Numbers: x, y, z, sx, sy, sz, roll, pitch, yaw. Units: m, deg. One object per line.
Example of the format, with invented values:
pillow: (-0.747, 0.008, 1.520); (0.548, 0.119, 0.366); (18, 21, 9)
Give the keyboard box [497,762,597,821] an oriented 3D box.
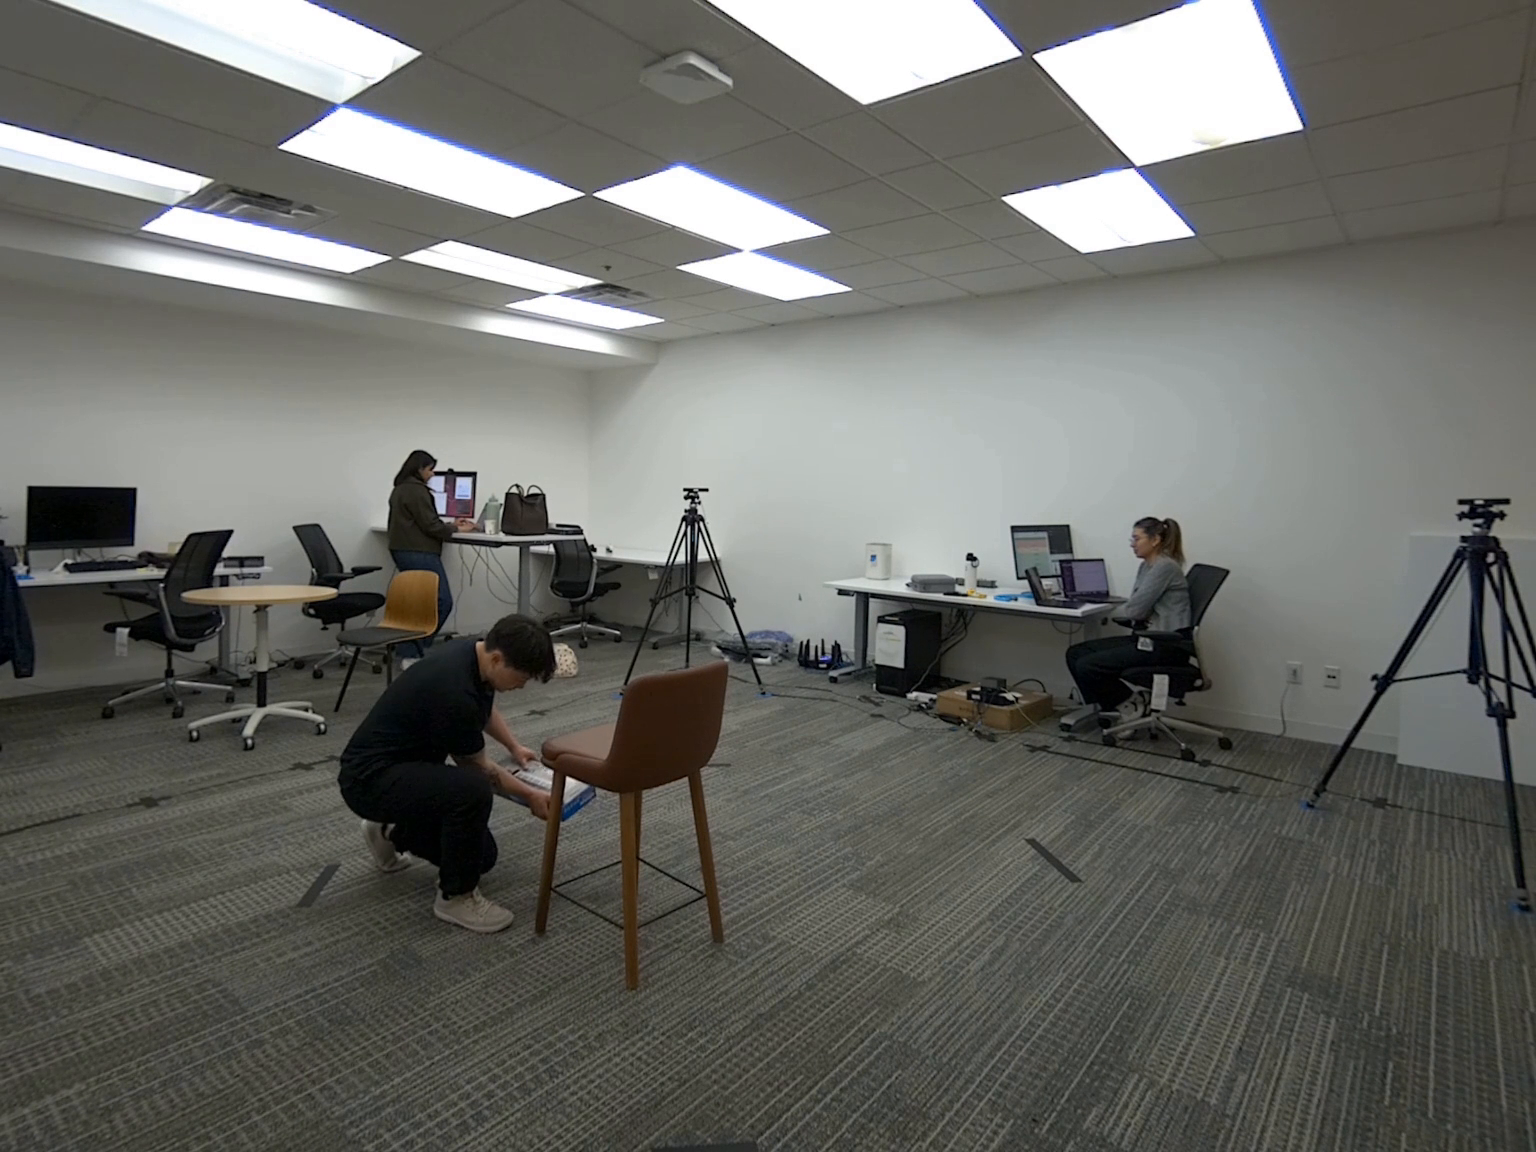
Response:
keyboard box: (-0.856, 0.764, 3.091); (0.452, 0.058, 0.173); (9, 23, 34)
